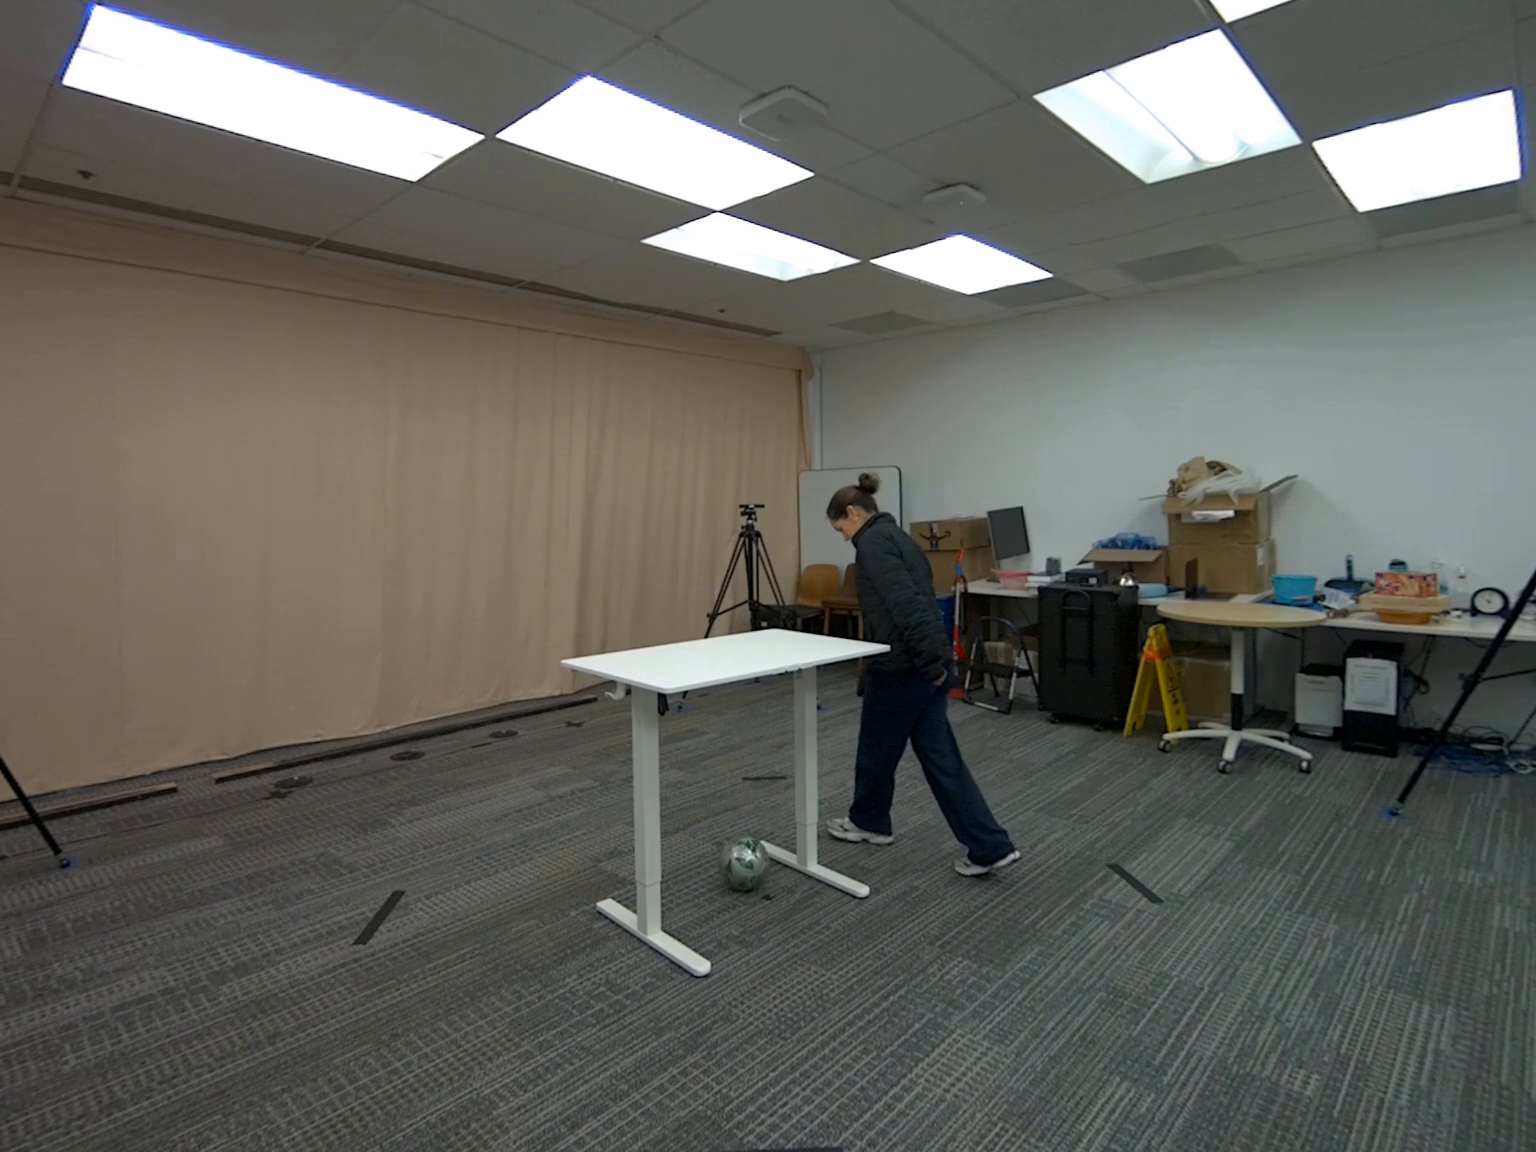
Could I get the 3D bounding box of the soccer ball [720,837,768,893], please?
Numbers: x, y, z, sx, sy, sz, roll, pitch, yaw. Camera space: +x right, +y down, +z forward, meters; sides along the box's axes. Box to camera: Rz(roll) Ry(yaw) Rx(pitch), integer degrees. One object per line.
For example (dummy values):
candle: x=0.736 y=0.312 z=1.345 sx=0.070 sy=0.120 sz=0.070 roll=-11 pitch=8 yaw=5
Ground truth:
soccer ball: x=-0.083 y=1.044 z=3.054 sx=0.187 sy=0.187 sz=0.188 roll=-1 pitch=4 yaw=-2
